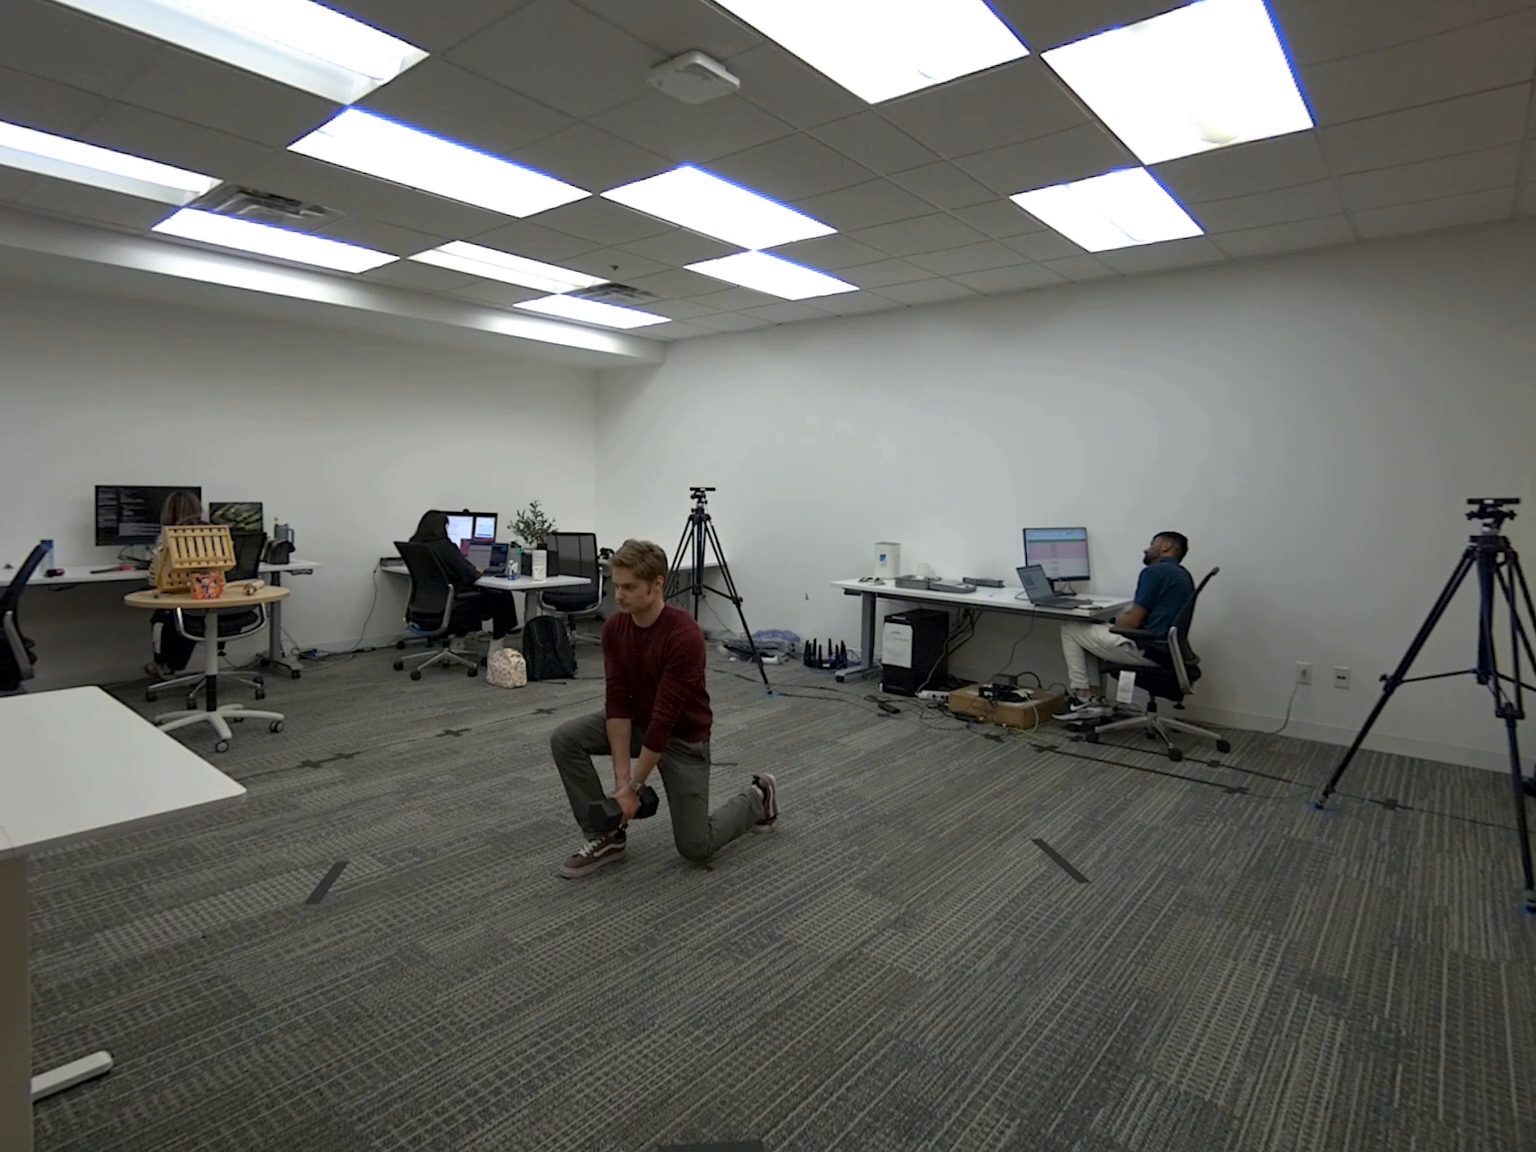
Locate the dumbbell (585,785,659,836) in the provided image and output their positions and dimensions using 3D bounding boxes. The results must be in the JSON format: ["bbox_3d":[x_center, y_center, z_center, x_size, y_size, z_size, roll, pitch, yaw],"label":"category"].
[{"bbox_3d":[-0.534,0.827,3.071,0.127,0.109,0.284,52,24,23],"label":"dumbbell"}]
